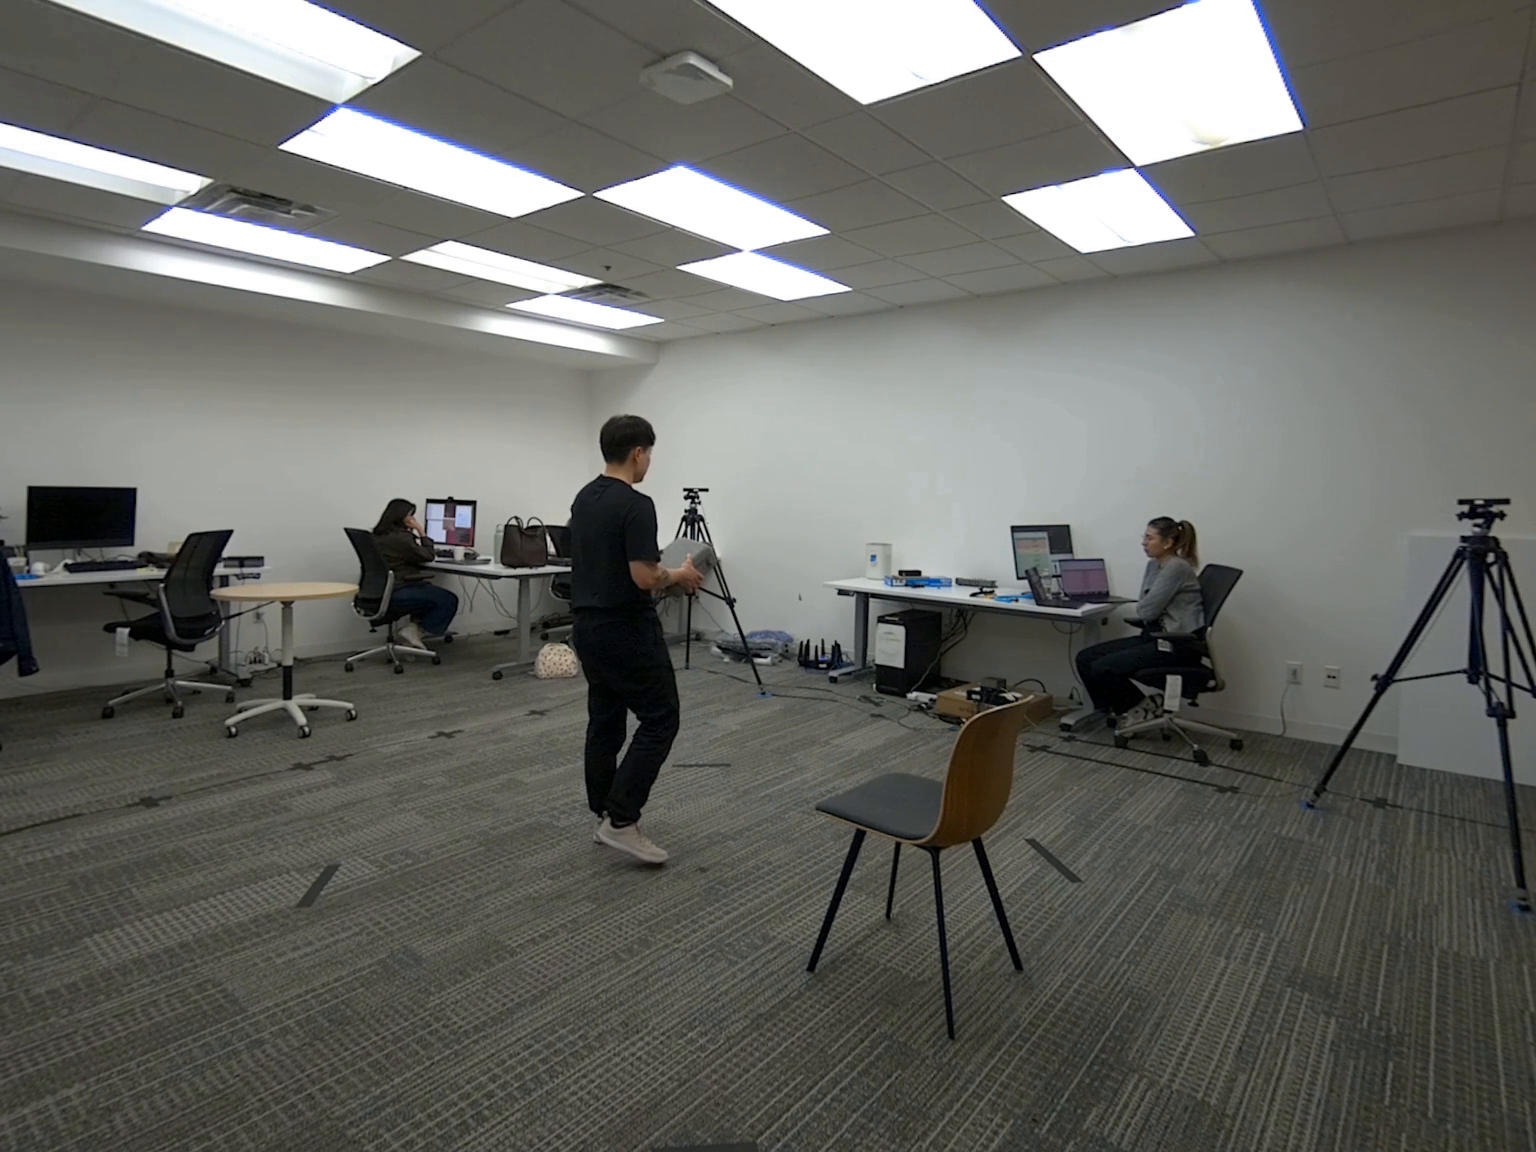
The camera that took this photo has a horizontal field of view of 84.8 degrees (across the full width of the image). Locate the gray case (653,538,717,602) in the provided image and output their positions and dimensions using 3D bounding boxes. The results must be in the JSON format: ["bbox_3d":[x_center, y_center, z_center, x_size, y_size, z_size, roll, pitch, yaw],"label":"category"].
[{"bbox_3d":[-0.377,-0.049,3.492,0.259,0.101,0.266,-39,32,-25],"label":"gray case"}]
